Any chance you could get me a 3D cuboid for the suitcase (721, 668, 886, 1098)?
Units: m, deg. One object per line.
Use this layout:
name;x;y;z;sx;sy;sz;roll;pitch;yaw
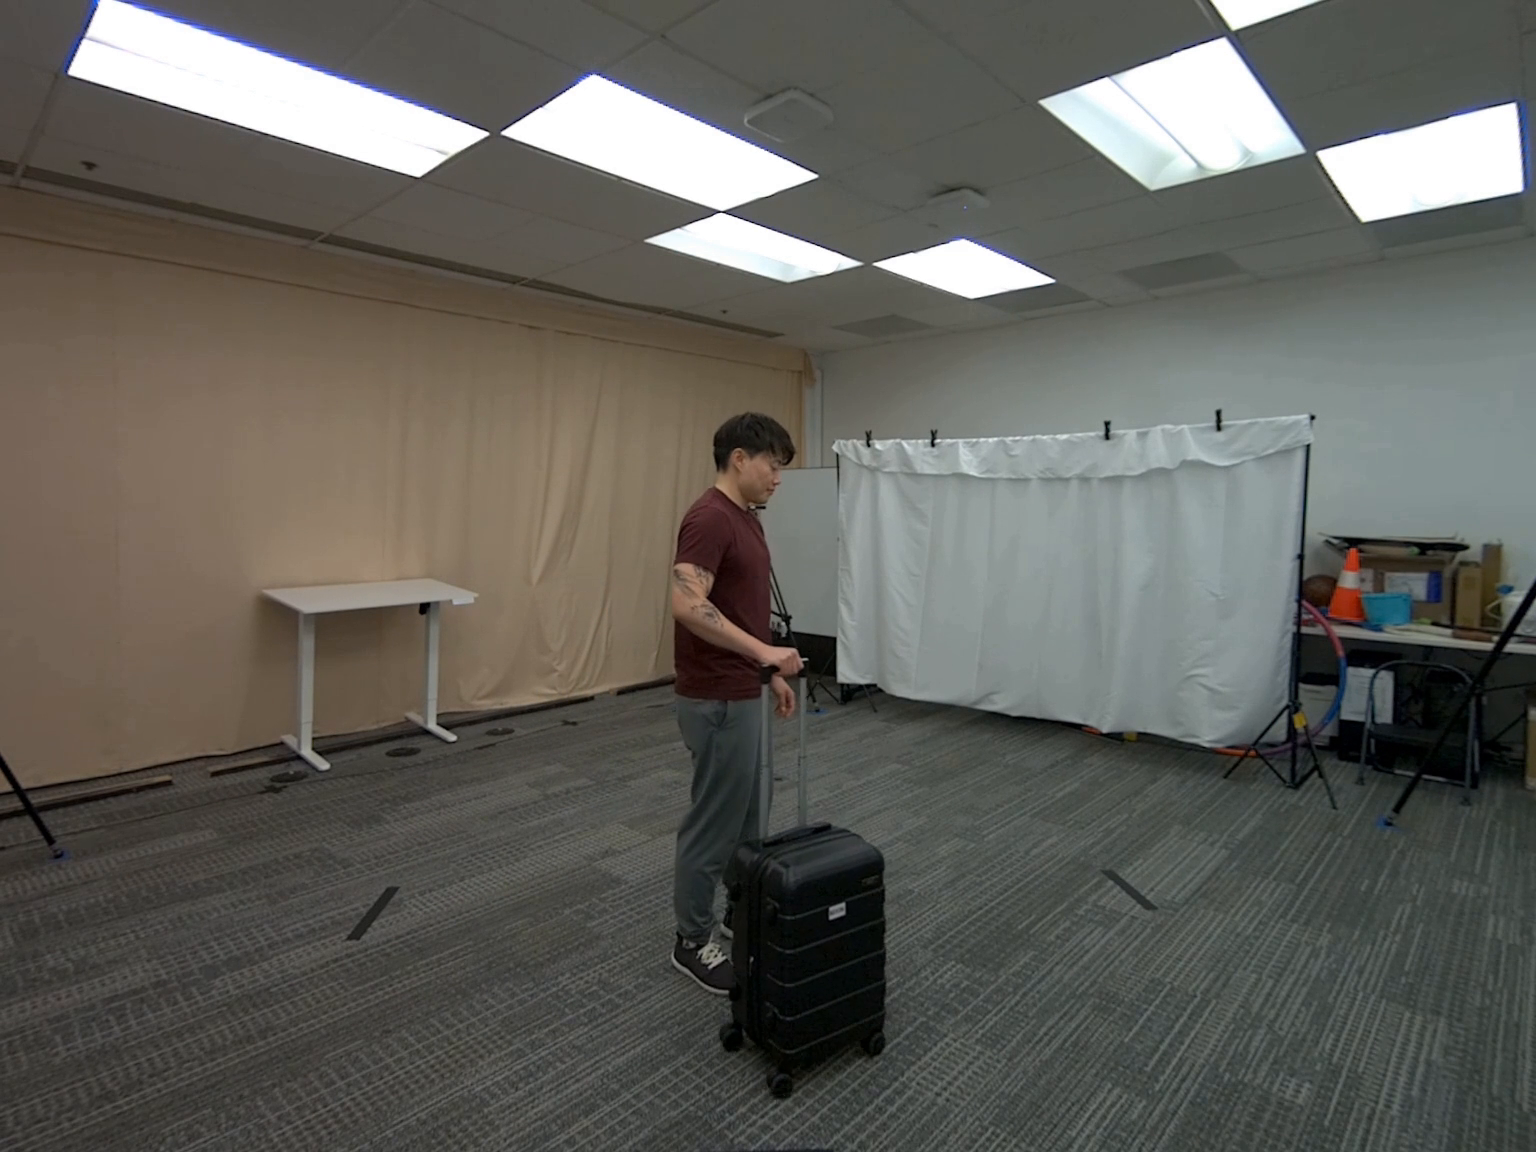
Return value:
suitcase;0.115;0.740;2.136;0.373;0.977;0.265;-1;4;-33
